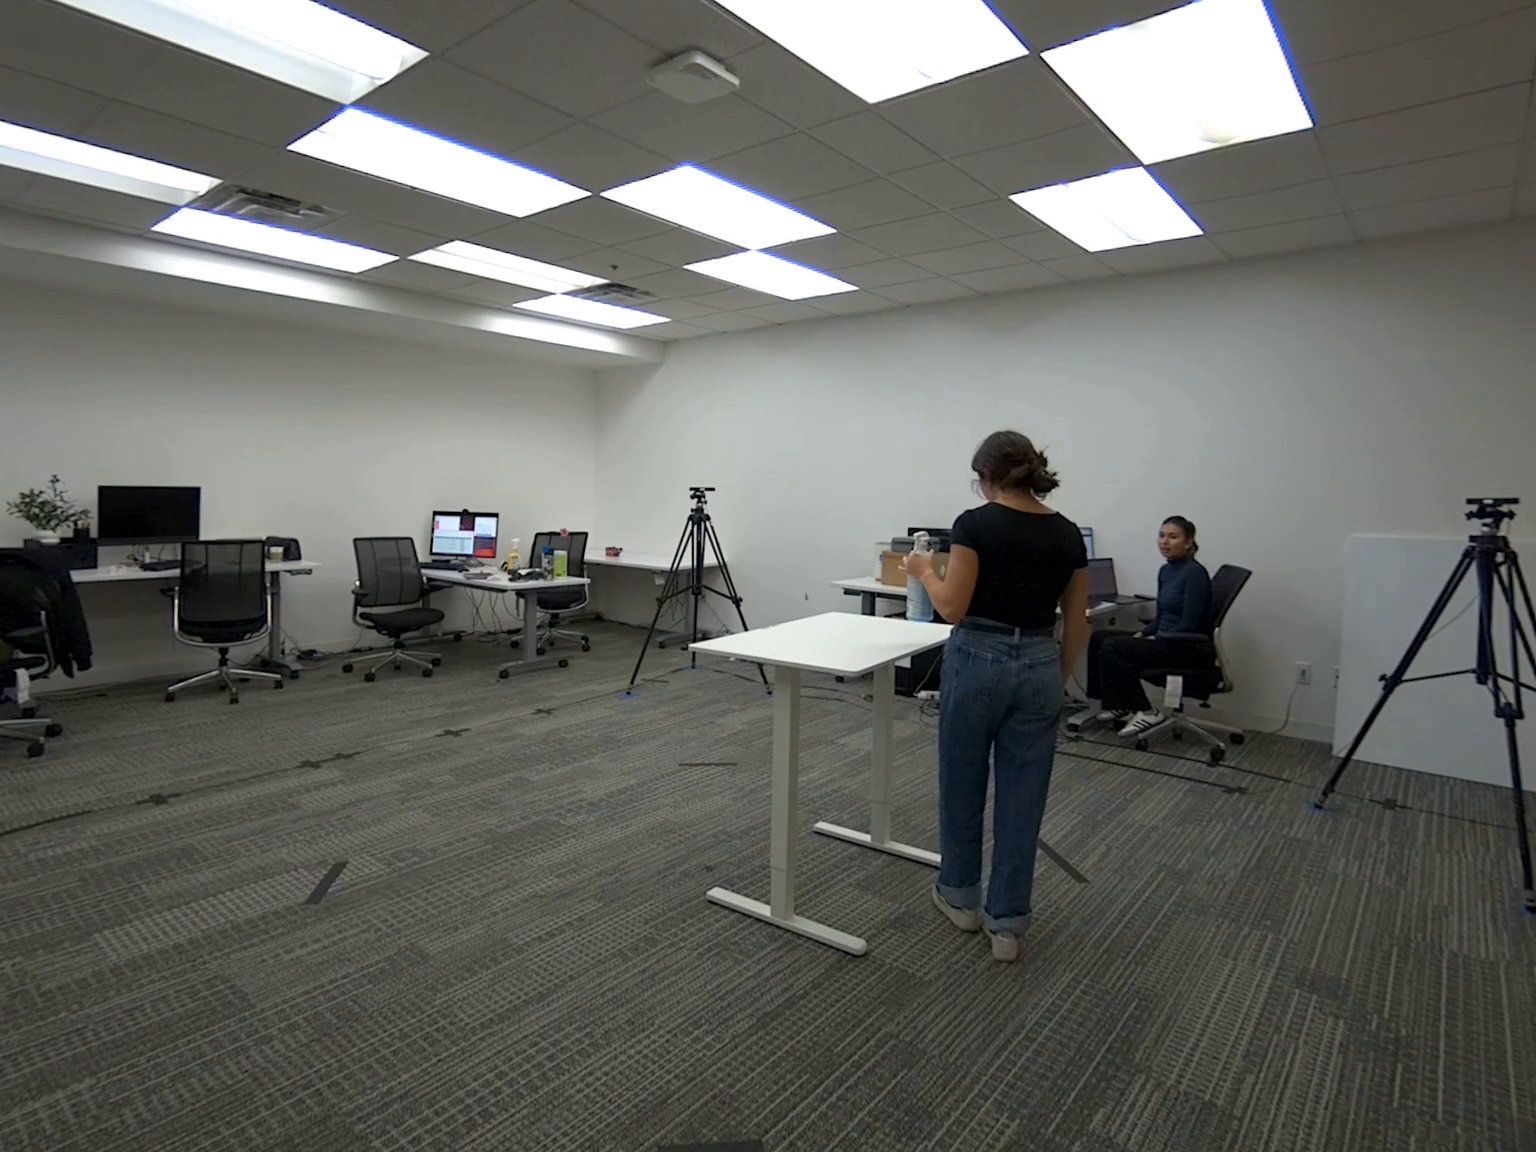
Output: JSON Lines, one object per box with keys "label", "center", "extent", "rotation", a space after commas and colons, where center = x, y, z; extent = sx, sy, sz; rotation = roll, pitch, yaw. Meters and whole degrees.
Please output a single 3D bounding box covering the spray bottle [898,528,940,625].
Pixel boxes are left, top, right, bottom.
{"label": "spray bottle", "center": [0.497, -0.002, 2.788], "extent": [0.088, 0.294, 0.090], "rotation": [-7, 14, -25]}
